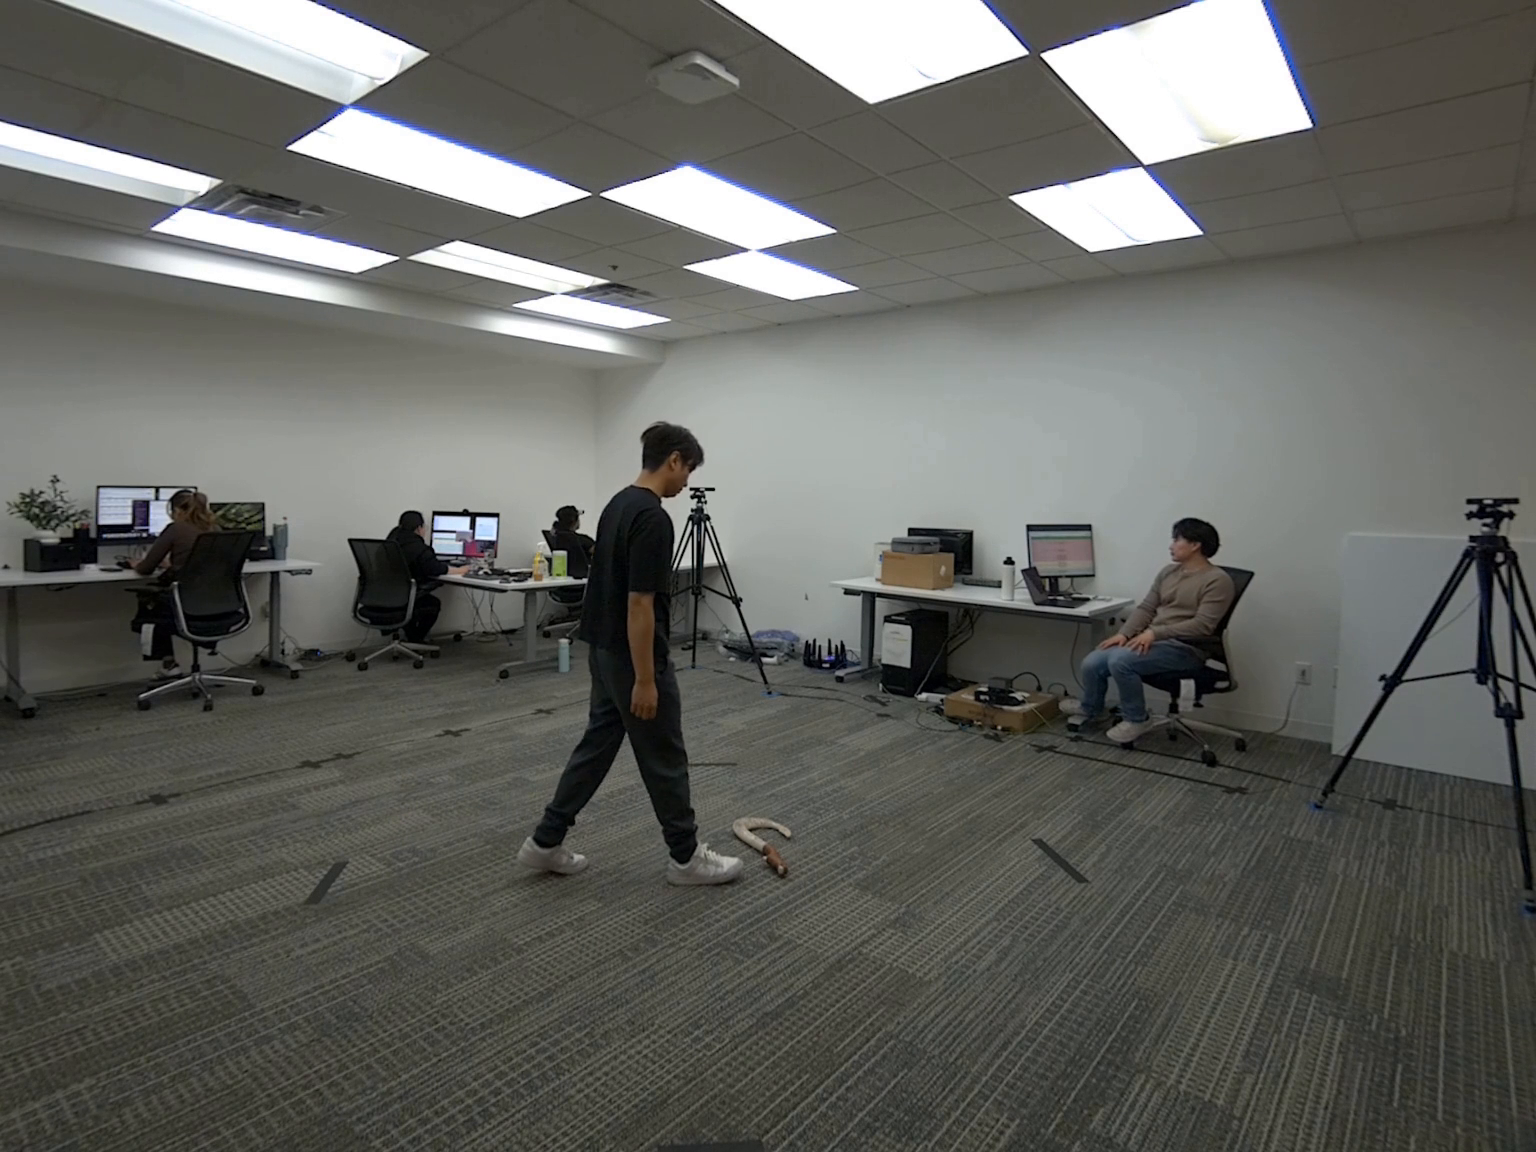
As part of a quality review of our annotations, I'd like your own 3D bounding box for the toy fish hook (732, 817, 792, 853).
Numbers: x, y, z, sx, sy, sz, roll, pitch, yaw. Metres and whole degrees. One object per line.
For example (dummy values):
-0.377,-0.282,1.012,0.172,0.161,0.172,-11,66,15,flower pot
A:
0.013,1.027,3.290,0.221,0.048,0.518,-3,7,-19,toy fish hook
